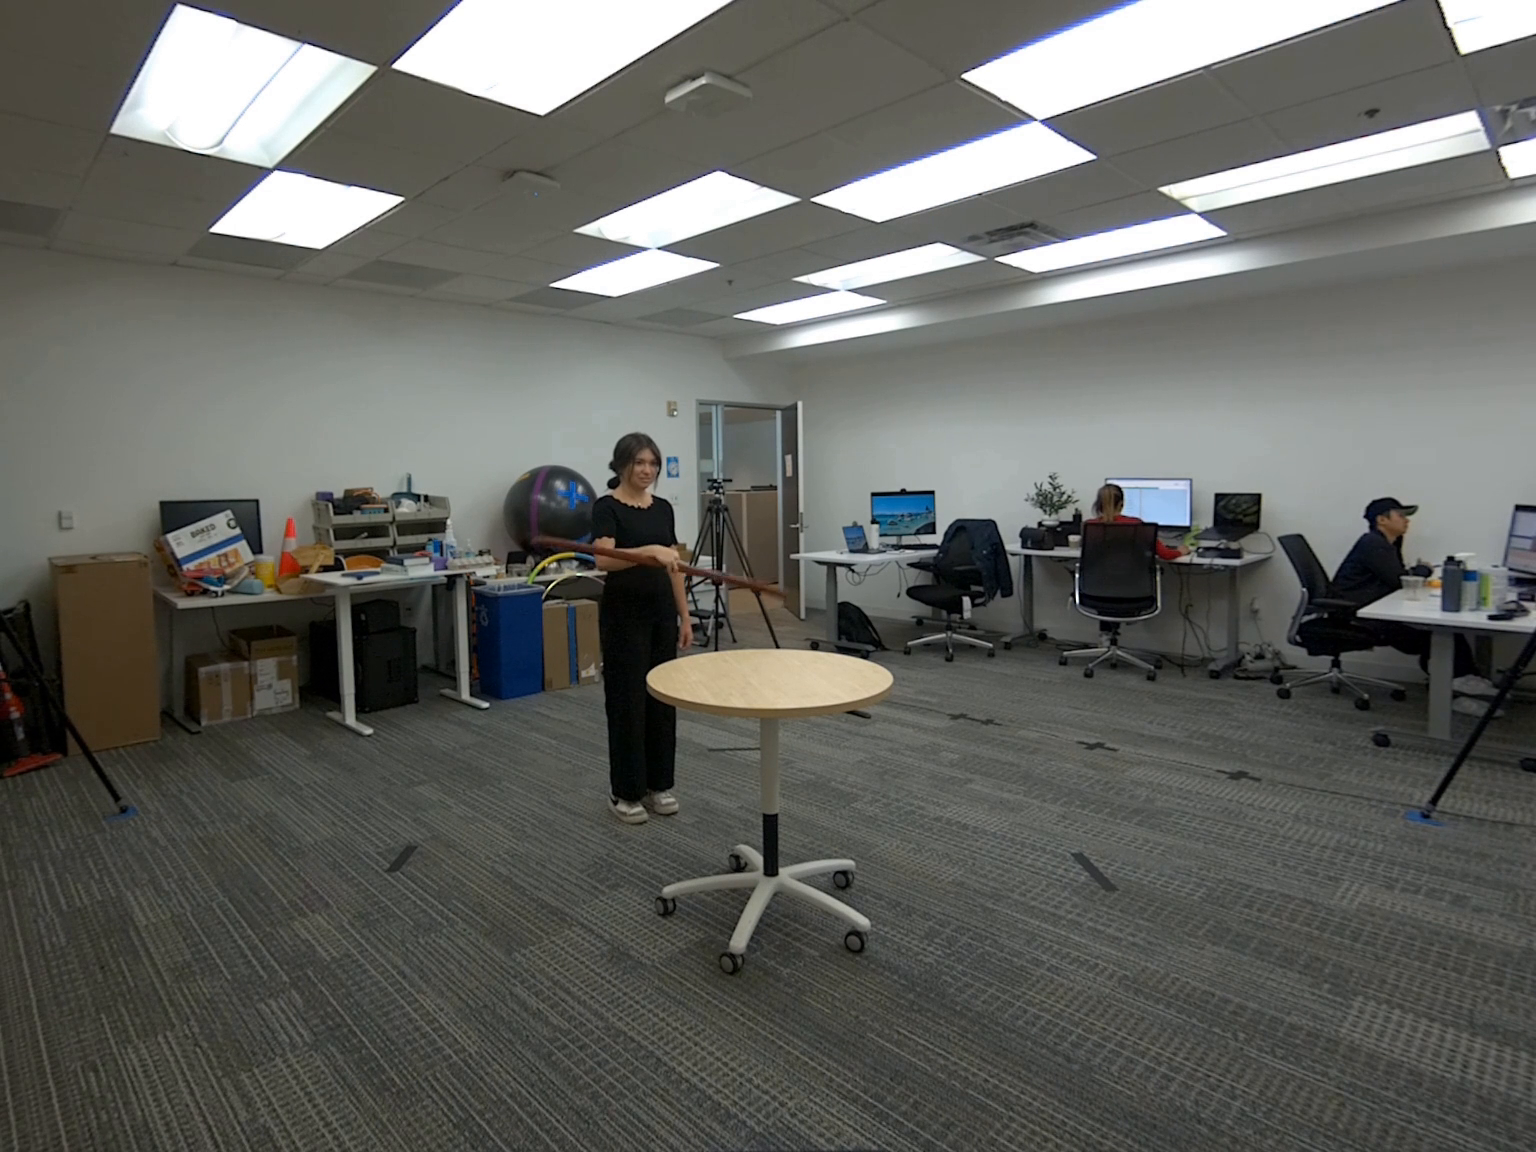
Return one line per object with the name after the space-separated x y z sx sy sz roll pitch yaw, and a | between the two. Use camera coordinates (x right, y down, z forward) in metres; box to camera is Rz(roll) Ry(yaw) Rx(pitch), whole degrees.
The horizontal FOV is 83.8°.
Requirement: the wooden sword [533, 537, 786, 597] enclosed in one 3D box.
-0.380 -0.048 3.252 1.011 0.051 0.024 13 6 -11 | wooden sword
